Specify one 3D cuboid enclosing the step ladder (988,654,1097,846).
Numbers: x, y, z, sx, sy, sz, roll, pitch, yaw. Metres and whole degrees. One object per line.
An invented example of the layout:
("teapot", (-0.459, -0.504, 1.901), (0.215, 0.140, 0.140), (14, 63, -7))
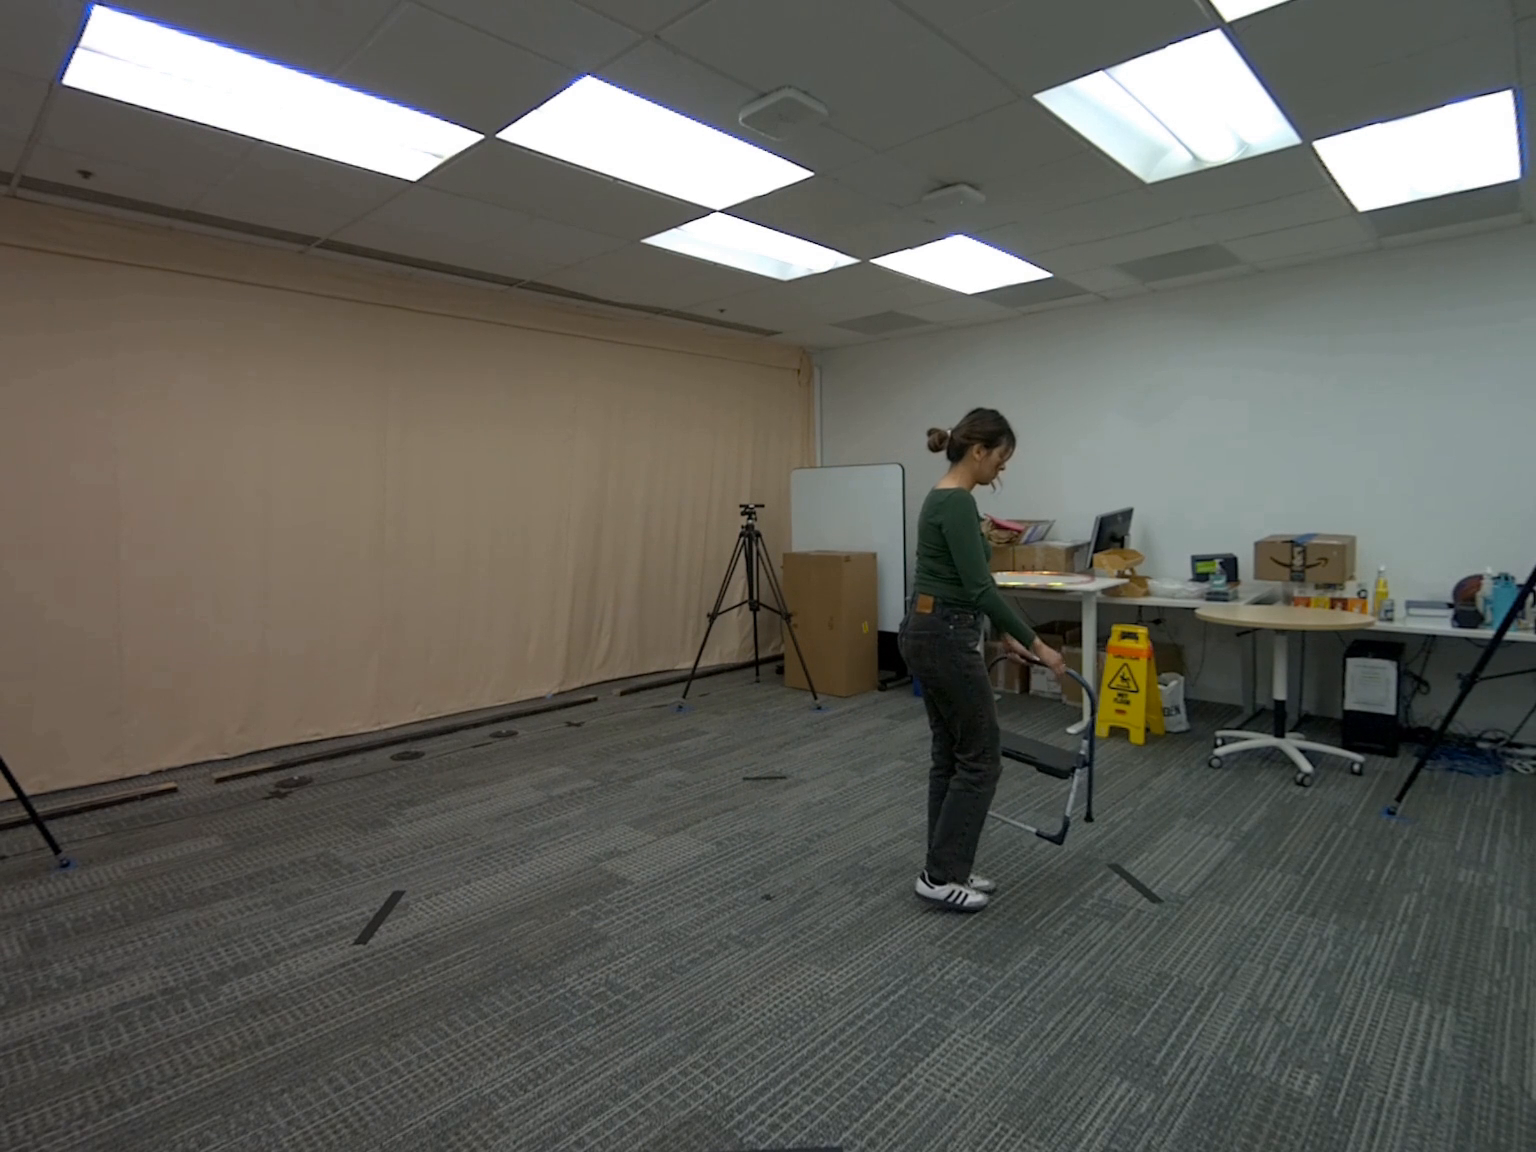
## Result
("step ladder", (0.993, 0.598, 3.132), (0.445, 0.603, 0.339), (13, 11, 37))
